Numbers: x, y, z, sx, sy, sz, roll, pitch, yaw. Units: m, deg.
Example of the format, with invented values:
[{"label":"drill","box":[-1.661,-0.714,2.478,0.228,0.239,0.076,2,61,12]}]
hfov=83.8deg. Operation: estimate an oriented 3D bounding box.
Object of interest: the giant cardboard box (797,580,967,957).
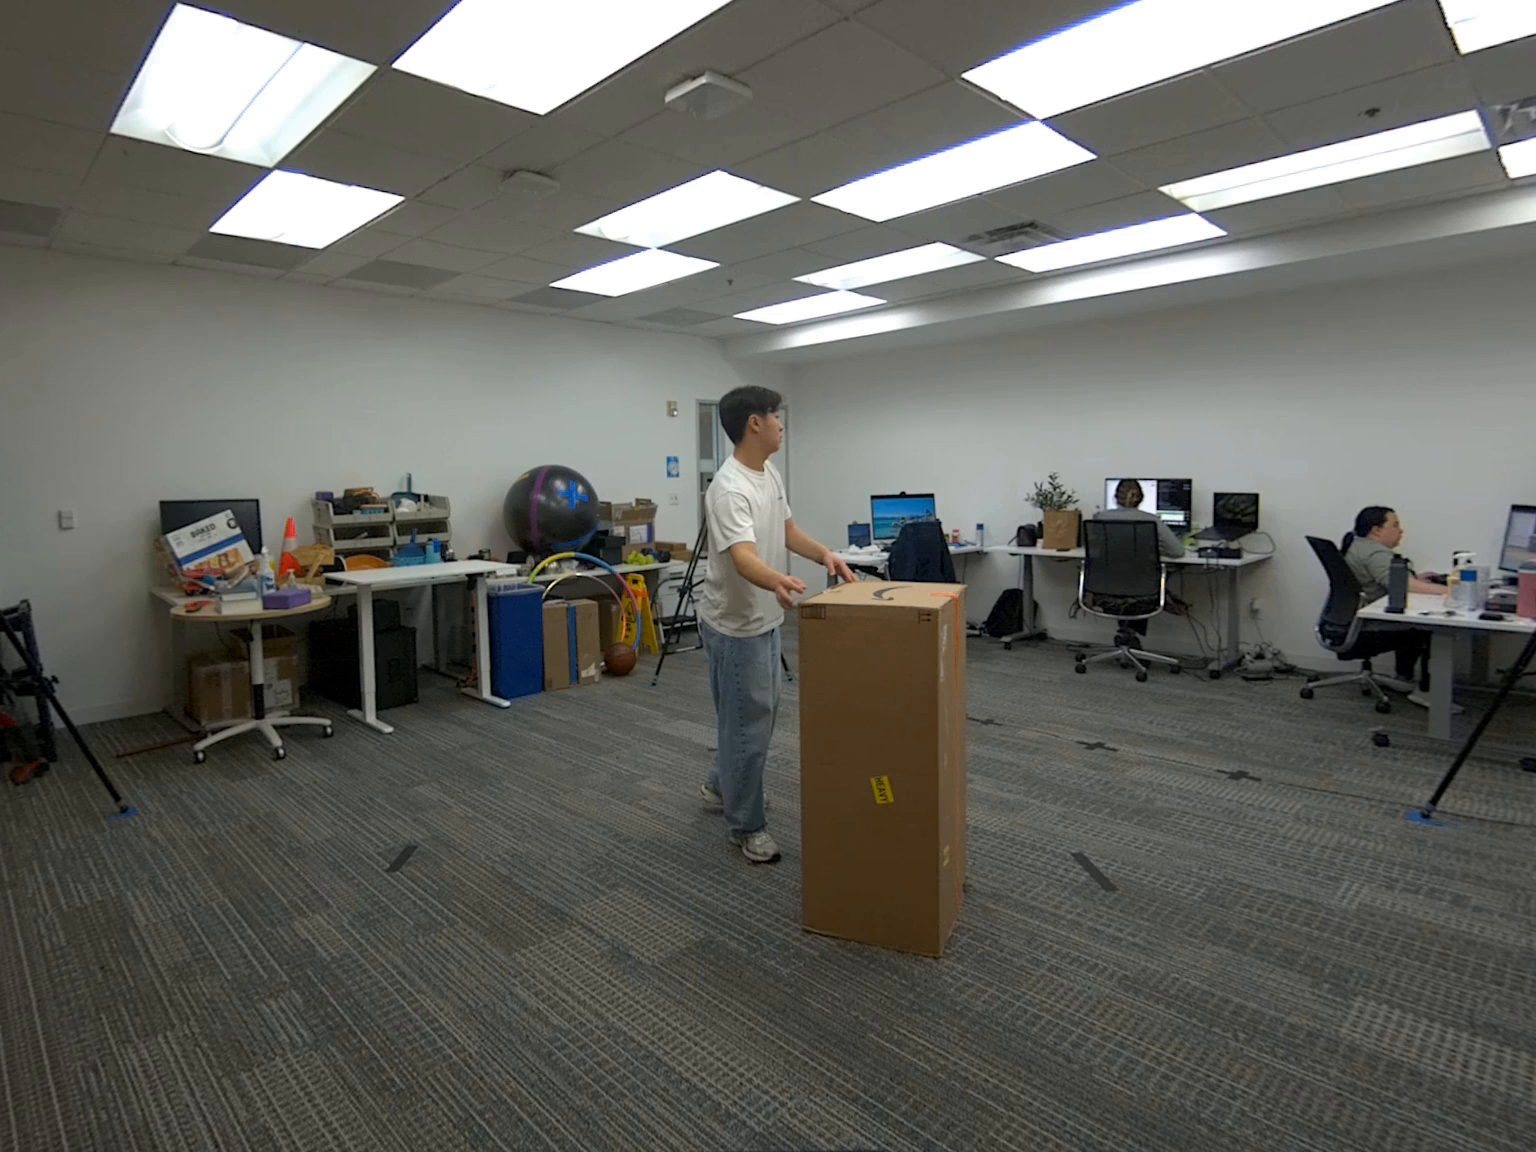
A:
[{"label":"giant cardboard box","box":[0.401,0.564,2.780,0.435,1.022,0.567,1,4,22]}]
